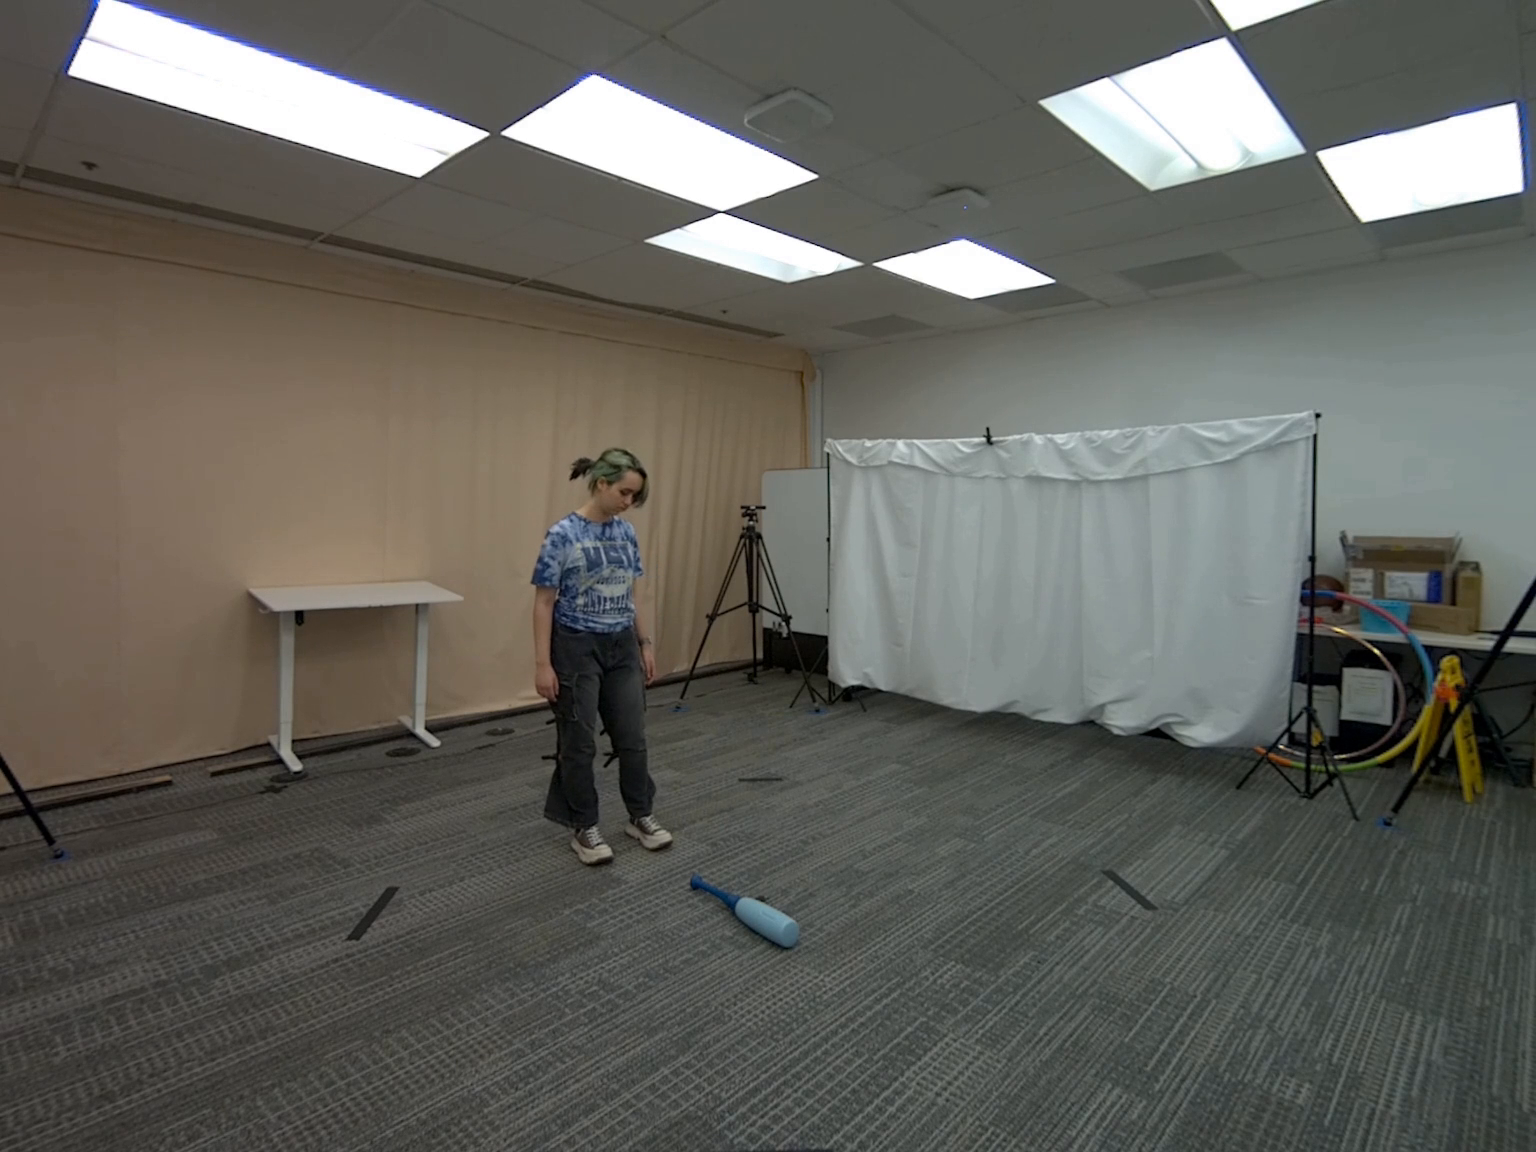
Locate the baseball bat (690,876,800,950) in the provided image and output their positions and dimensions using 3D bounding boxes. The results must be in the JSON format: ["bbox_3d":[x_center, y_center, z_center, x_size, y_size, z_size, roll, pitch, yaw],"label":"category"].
[{"bbox_3d":[-0.096,1.121,2.852,0.086,0.089,0.560,-3,2,-37],"label":"baseball bat"}]
